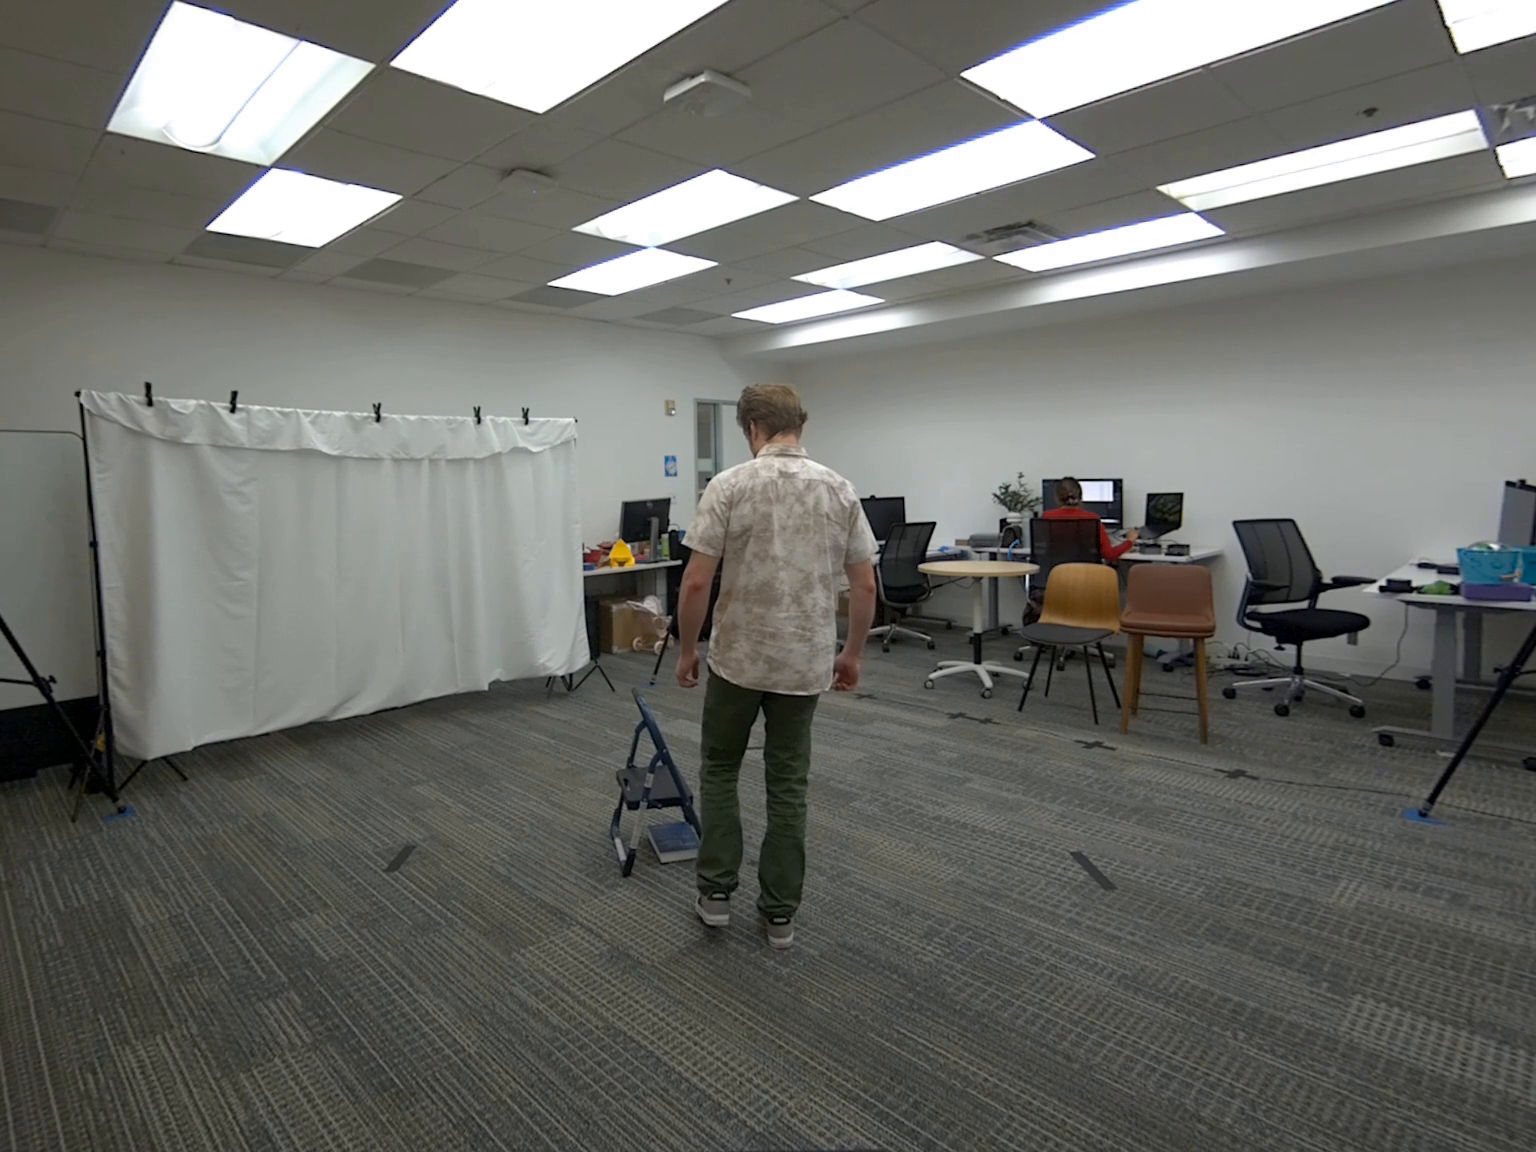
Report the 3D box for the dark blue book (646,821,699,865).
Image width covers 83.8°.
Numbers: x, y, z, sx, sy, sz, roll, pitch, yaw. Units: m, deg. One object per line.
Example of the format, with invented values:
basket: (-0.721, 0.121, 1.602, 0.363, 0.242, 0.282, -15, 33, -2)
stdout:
dark blue book: (-0.362, 1.009, 3.249, 0.161, 0.045, 0.250, -2, 8, -18)
